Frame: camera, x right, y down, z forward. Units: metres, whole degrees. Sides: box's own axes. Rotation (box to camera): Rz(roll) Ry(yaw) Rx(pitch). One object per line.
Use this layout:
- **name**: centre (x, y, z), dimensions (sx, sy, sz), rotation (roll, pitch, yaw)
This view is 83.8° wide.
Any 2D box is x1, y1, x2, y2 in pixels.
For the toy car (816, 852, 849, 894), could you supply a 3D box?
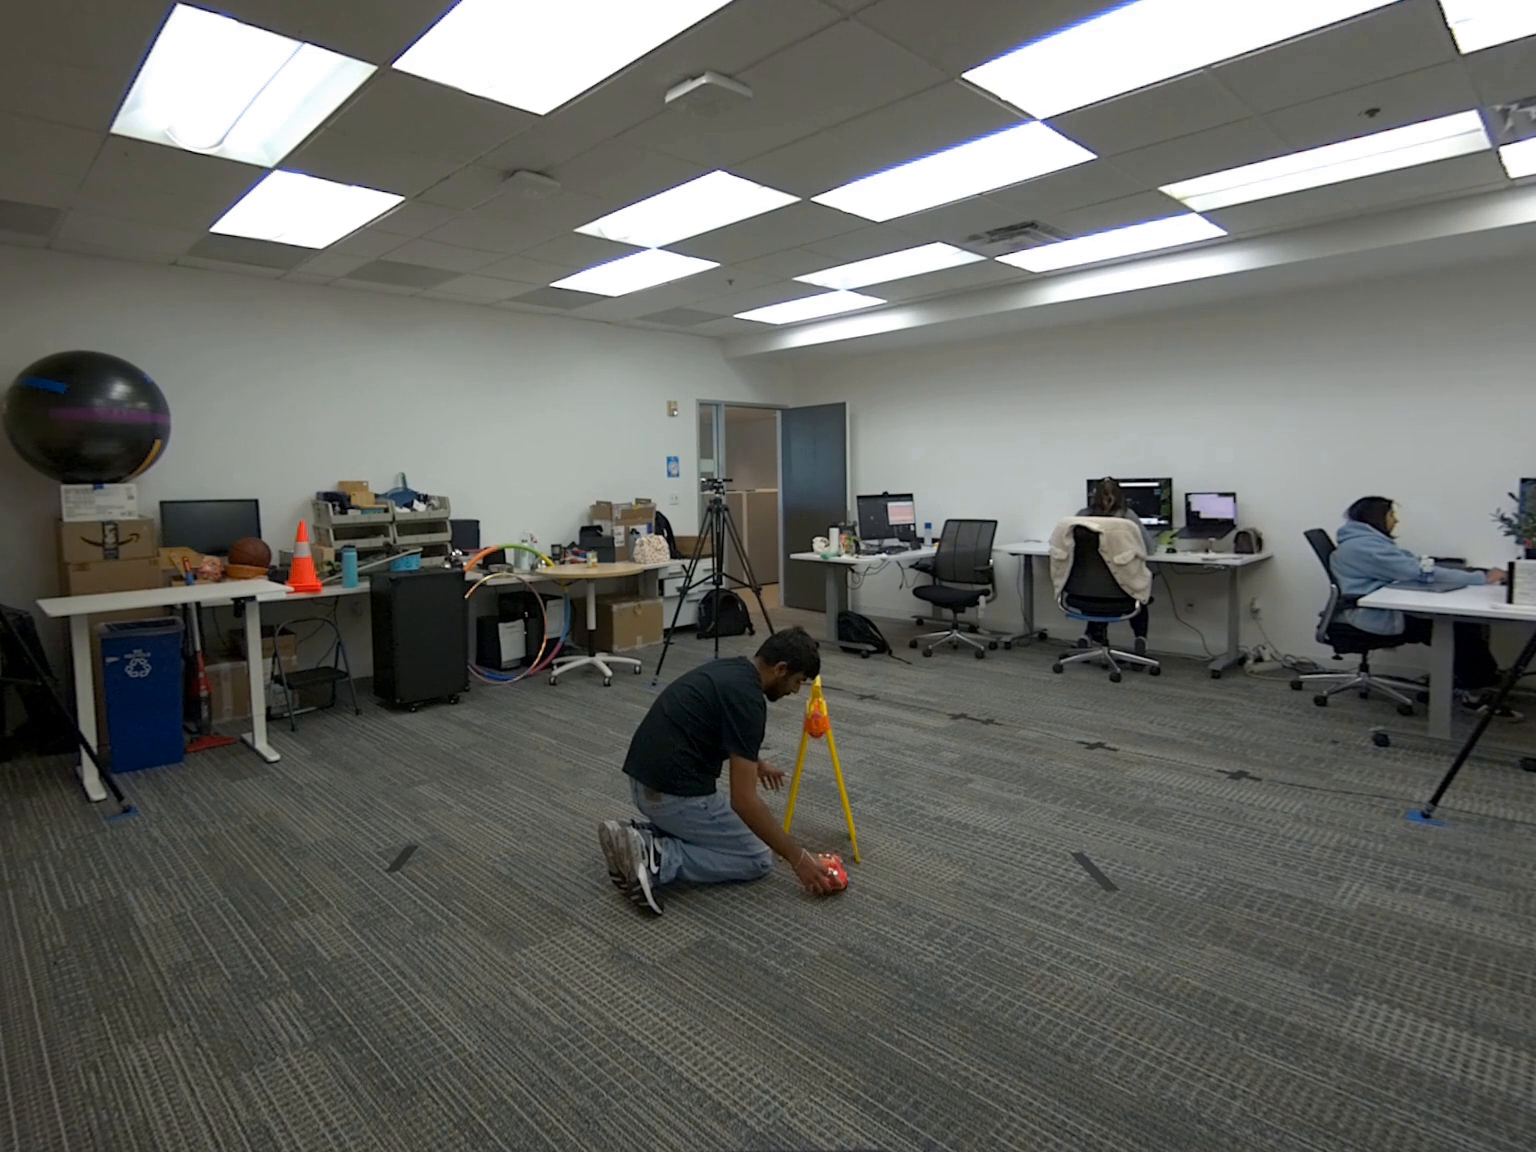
- **toy car**: centre (0.200, 1.018, 2.970), dimensions (0.130, 0.083, 0.254), rotation (0, -4, -4)
